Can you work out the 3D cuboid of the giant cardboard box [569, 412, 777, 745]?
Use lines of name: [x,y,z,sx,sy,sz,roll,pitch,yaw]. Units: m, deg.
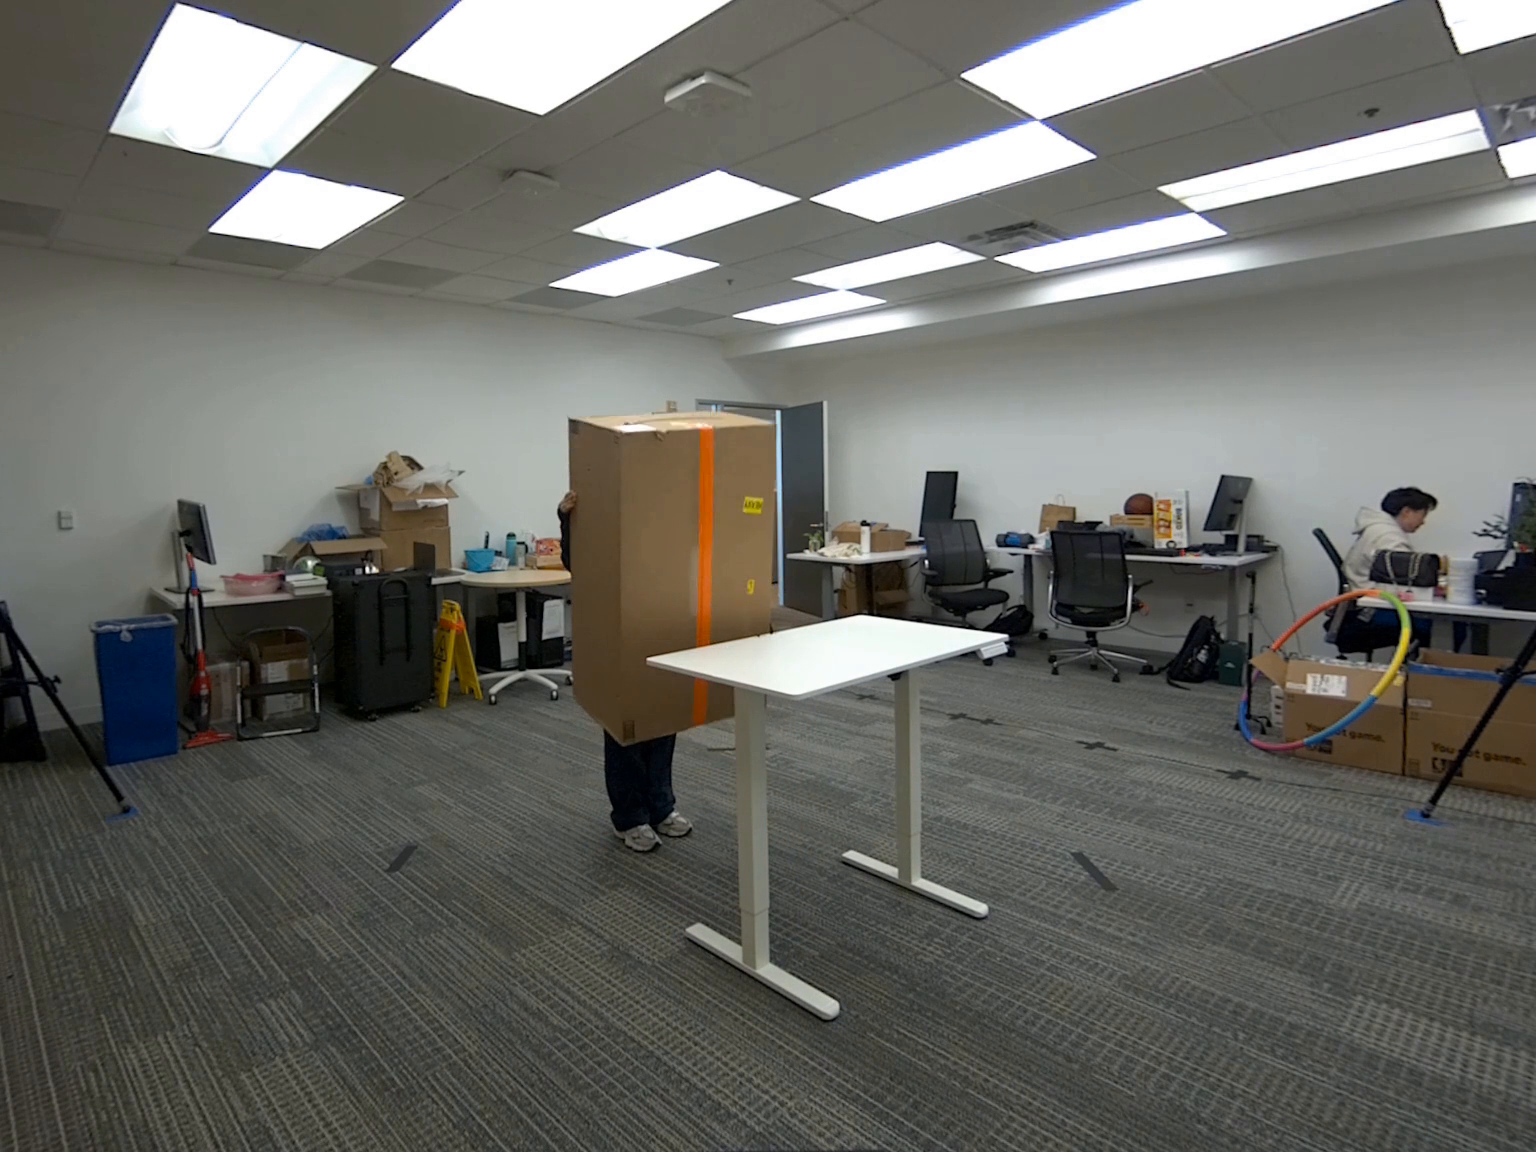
giant cardboard box: [-0.335,-0.030,2.970,0.571,1.014,0.463,-7,18,-31]
